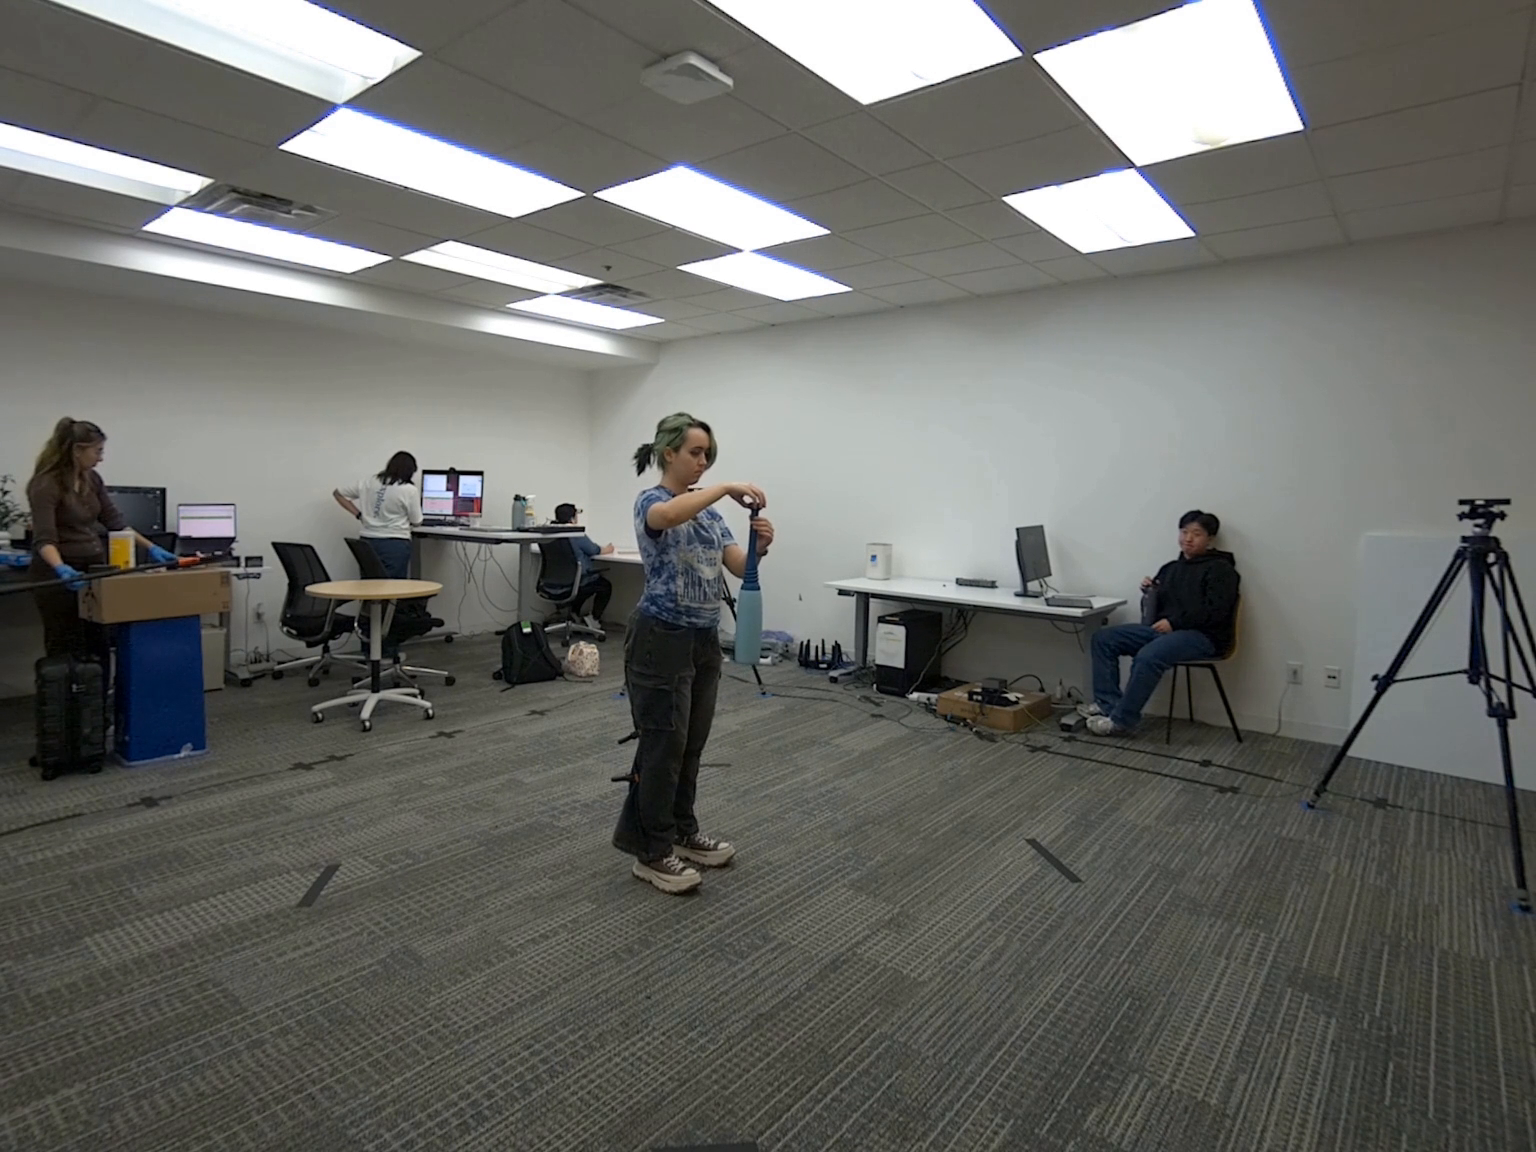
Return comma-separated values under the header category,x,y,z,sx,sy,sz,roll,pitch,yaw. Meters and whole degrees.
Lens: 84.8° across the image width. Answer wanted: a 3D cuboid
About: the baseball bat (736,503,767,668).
category,x,y,z,sx,sy,sz,roll,pitch,yaw
baseball bat,-0.059,0.027,2.840,0.089,0.542,0.089,1,1,-2
